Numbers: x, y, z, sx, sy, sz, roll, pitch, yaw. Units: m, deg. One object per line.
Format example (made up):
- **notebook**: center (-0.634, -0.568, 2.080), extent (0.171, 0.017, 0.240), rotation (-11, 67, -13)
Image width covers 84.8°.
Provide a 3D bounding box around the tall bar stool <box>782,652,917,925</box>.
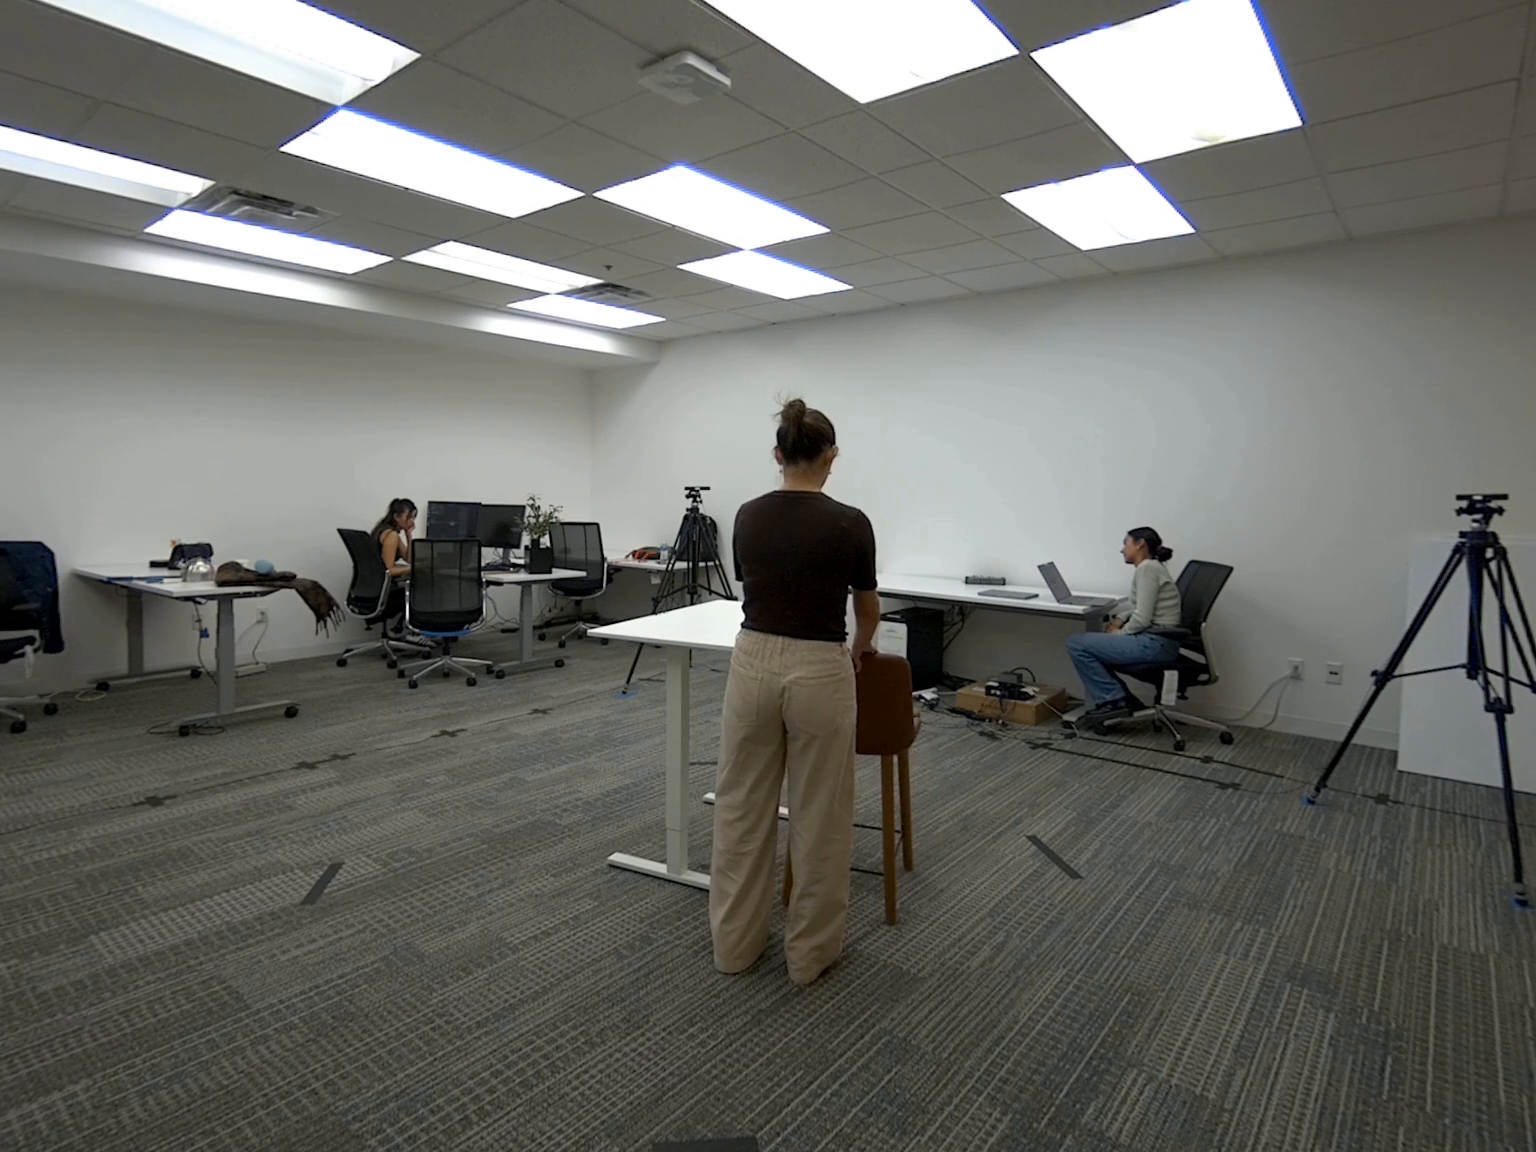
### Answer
- **tall bar stool**: center (0.286, 0.654, 2.963), extent (0.466, 0.885, 0.461), rotation (2, 6, 18)
